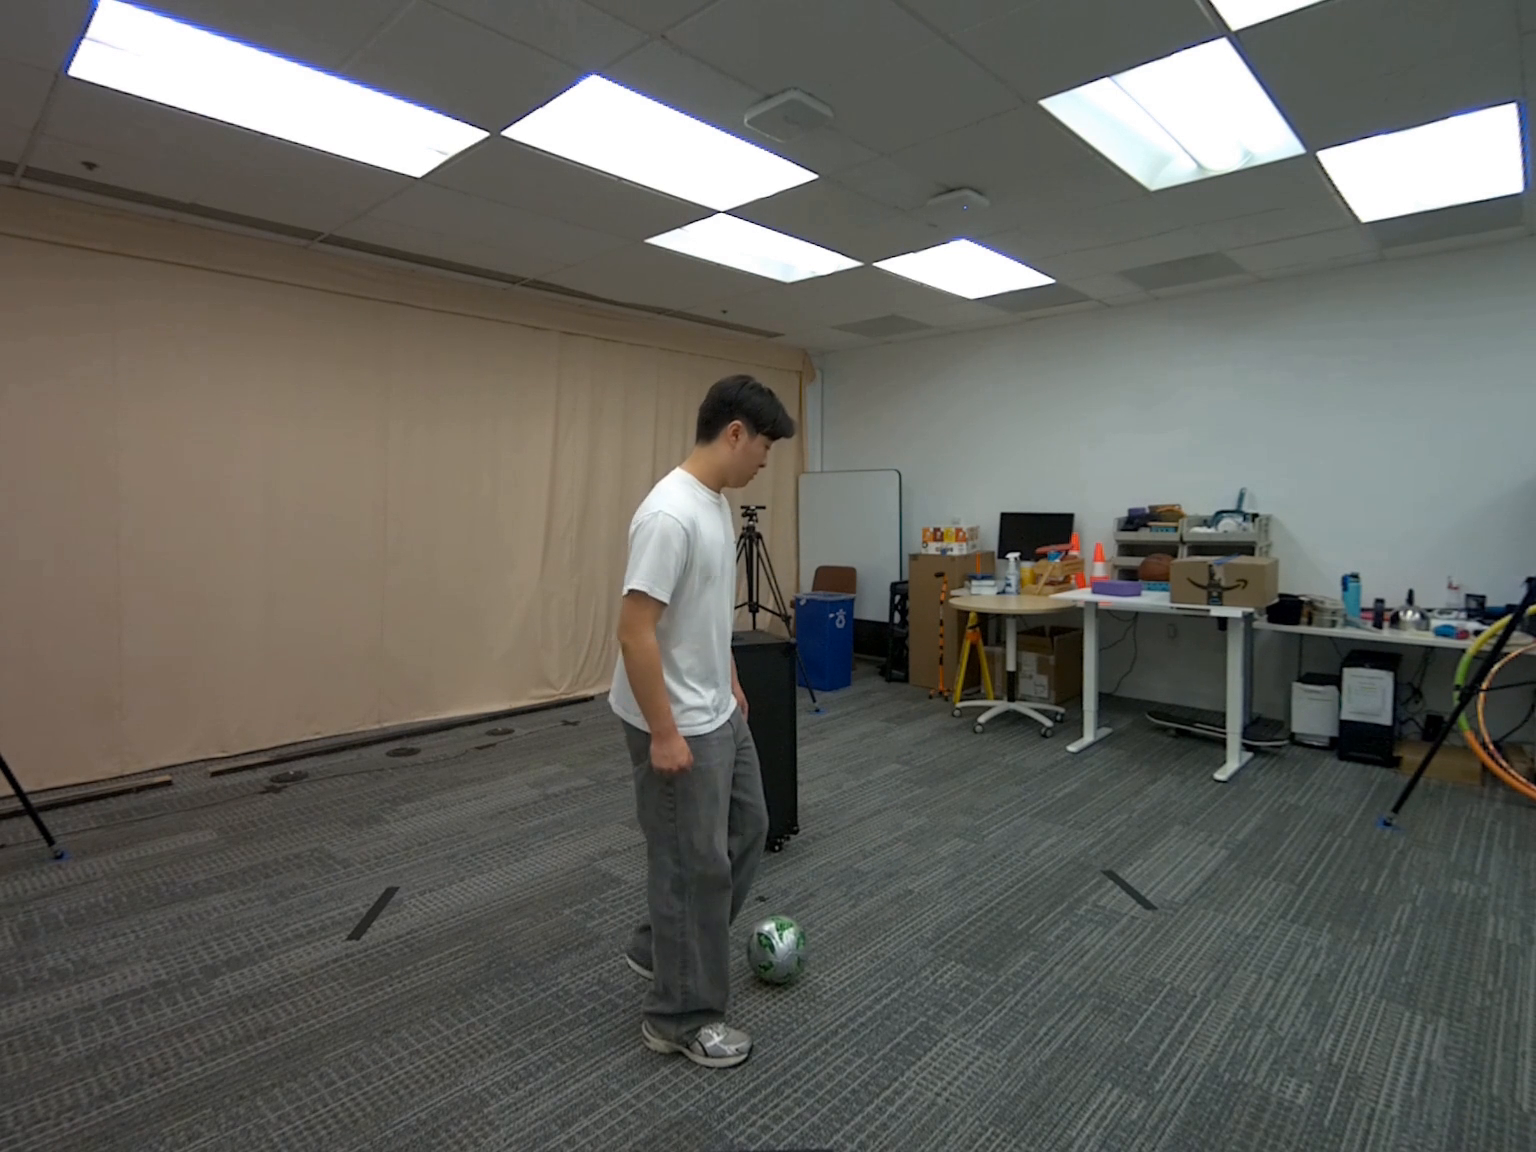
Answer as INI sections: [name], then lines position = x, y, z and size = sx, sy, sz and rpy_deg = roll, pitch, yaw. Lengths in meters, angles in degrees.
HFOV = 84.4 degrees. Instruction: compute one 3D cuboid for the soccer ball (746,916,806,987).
[soccer ball]
position = 0.028, 1.092, 2.476
size = 0.187, 0.187, 0.188
rpy_deg = 0, 4, -2
